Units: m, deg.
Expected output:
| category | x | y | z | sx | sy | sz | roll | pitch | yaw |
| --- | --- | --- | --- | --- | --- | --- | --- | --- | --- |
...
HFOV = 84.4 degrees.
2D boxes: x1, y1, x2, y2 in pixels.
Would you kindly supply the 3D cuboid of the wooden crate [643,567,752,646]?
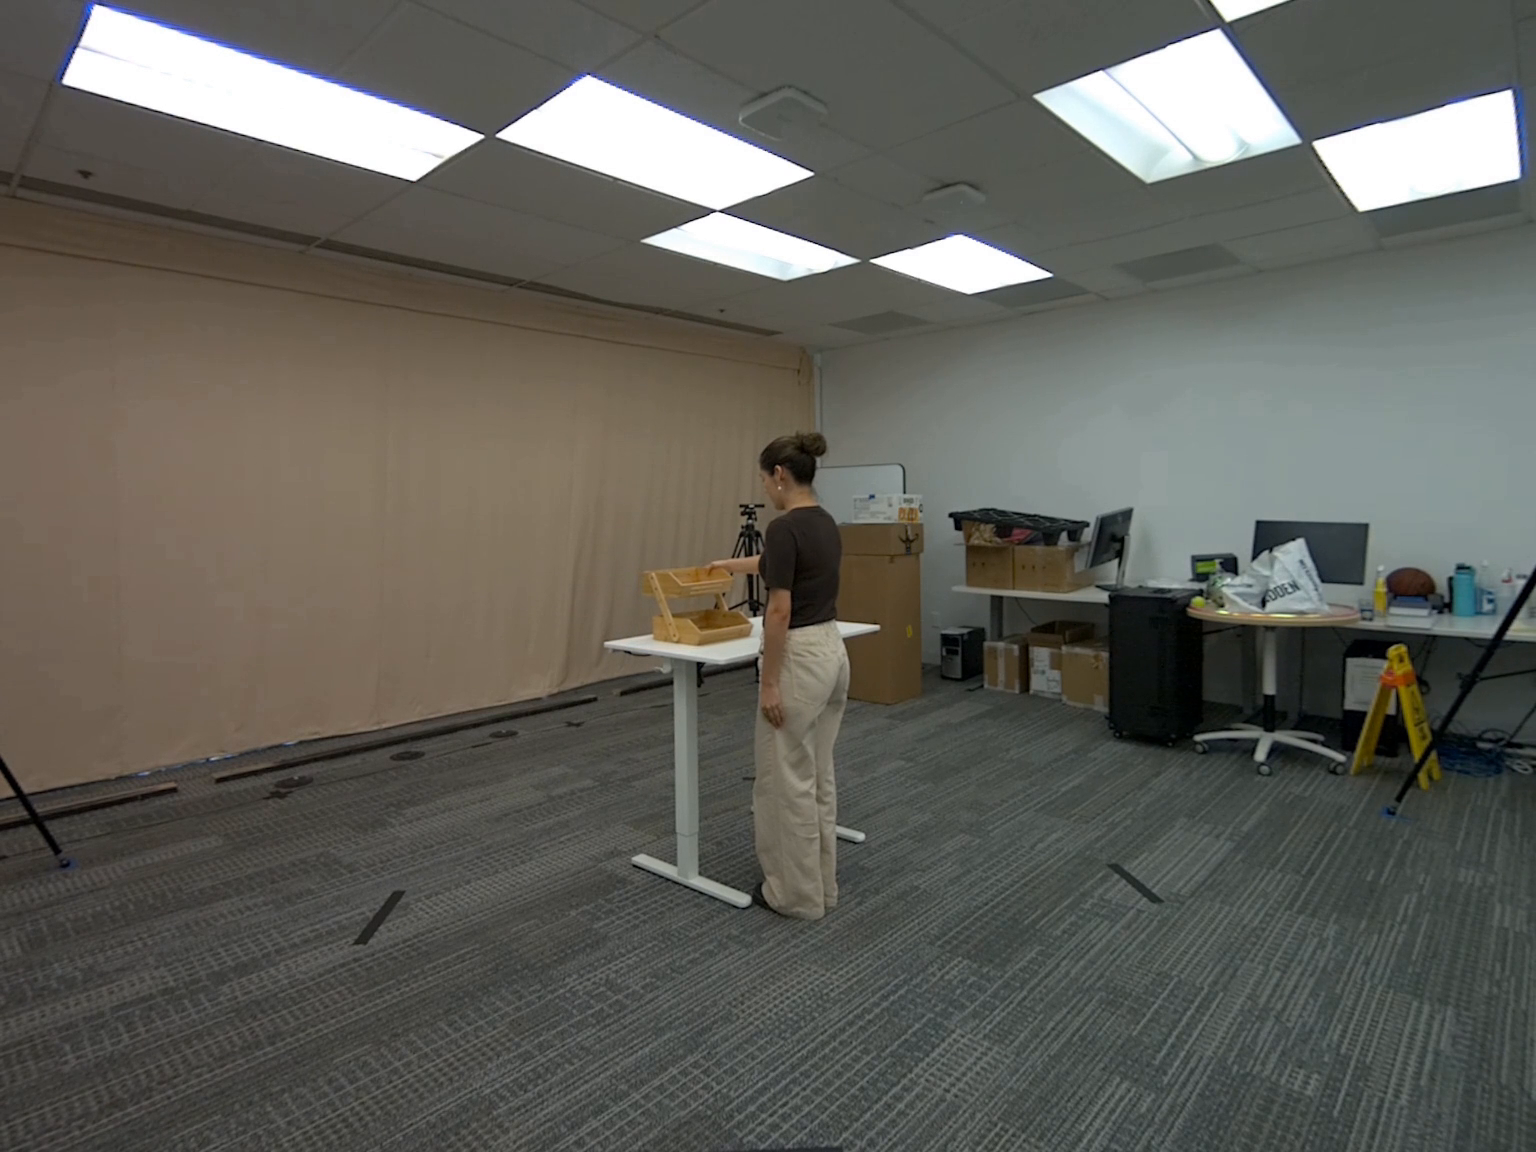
| category | x | y | z | sx | sy | sz | roll | pitch | yaw |
| --- | --- | --- | --- | --- | --- | --- | --- | --- | --- |
| wooden crate | -0.264 | 0.107 | 3.246 | 0.312 | 0.273 | 0.314 | 0 | 3 | 40 |
